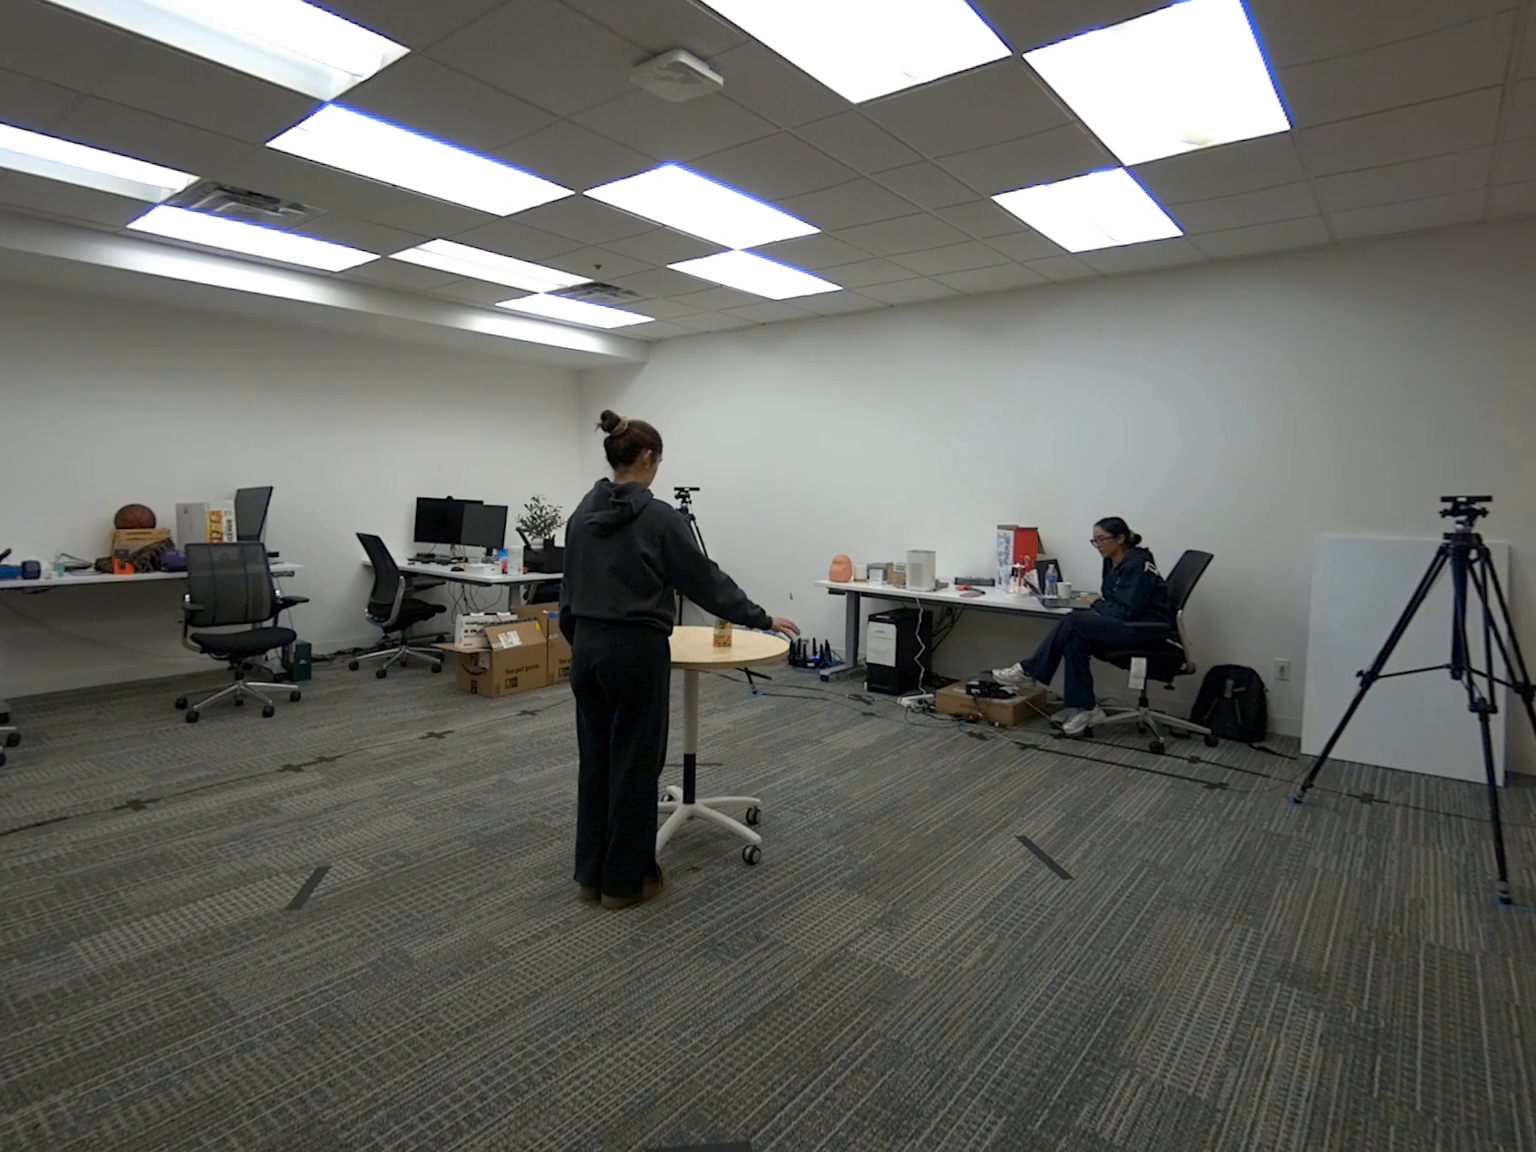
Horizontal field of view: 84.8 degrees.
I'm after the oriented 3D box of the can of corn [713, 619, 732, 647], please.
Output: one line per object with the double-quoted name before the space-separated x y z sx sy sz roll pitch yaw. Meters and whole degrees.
"can of corn" -0.183 0.210 3.302 0.074 0.111 0.074 2 2 -2
